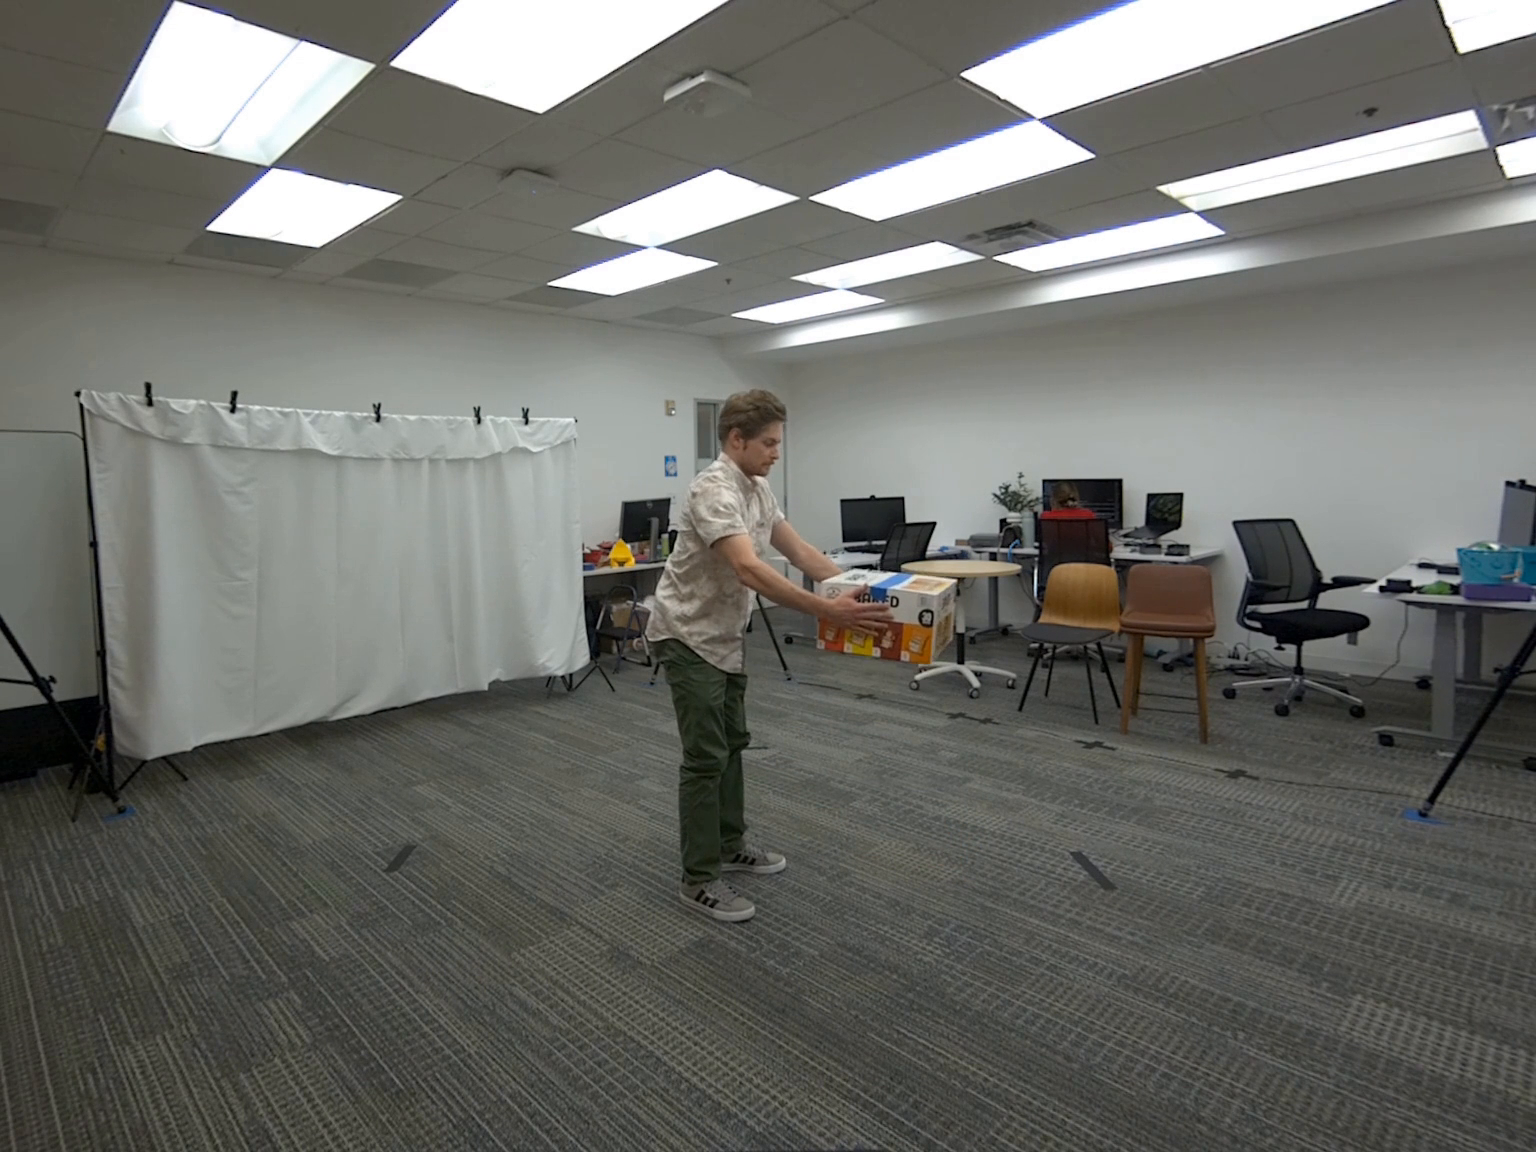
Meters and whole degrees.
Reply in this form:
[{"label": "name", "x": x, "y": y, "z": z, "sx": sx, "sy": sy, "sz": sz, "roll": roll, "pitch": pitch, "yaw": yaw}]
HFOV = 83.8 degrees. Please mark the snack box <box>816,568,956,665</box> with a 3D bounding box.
[{"label": "snack box", "x": 0.375, "y": 0.128, "z": 2.646, "sx": 0.348, "sy": 0.204, "sz": 0.398, "roll": 7, "pitch": 8, "yaw": 21}]
